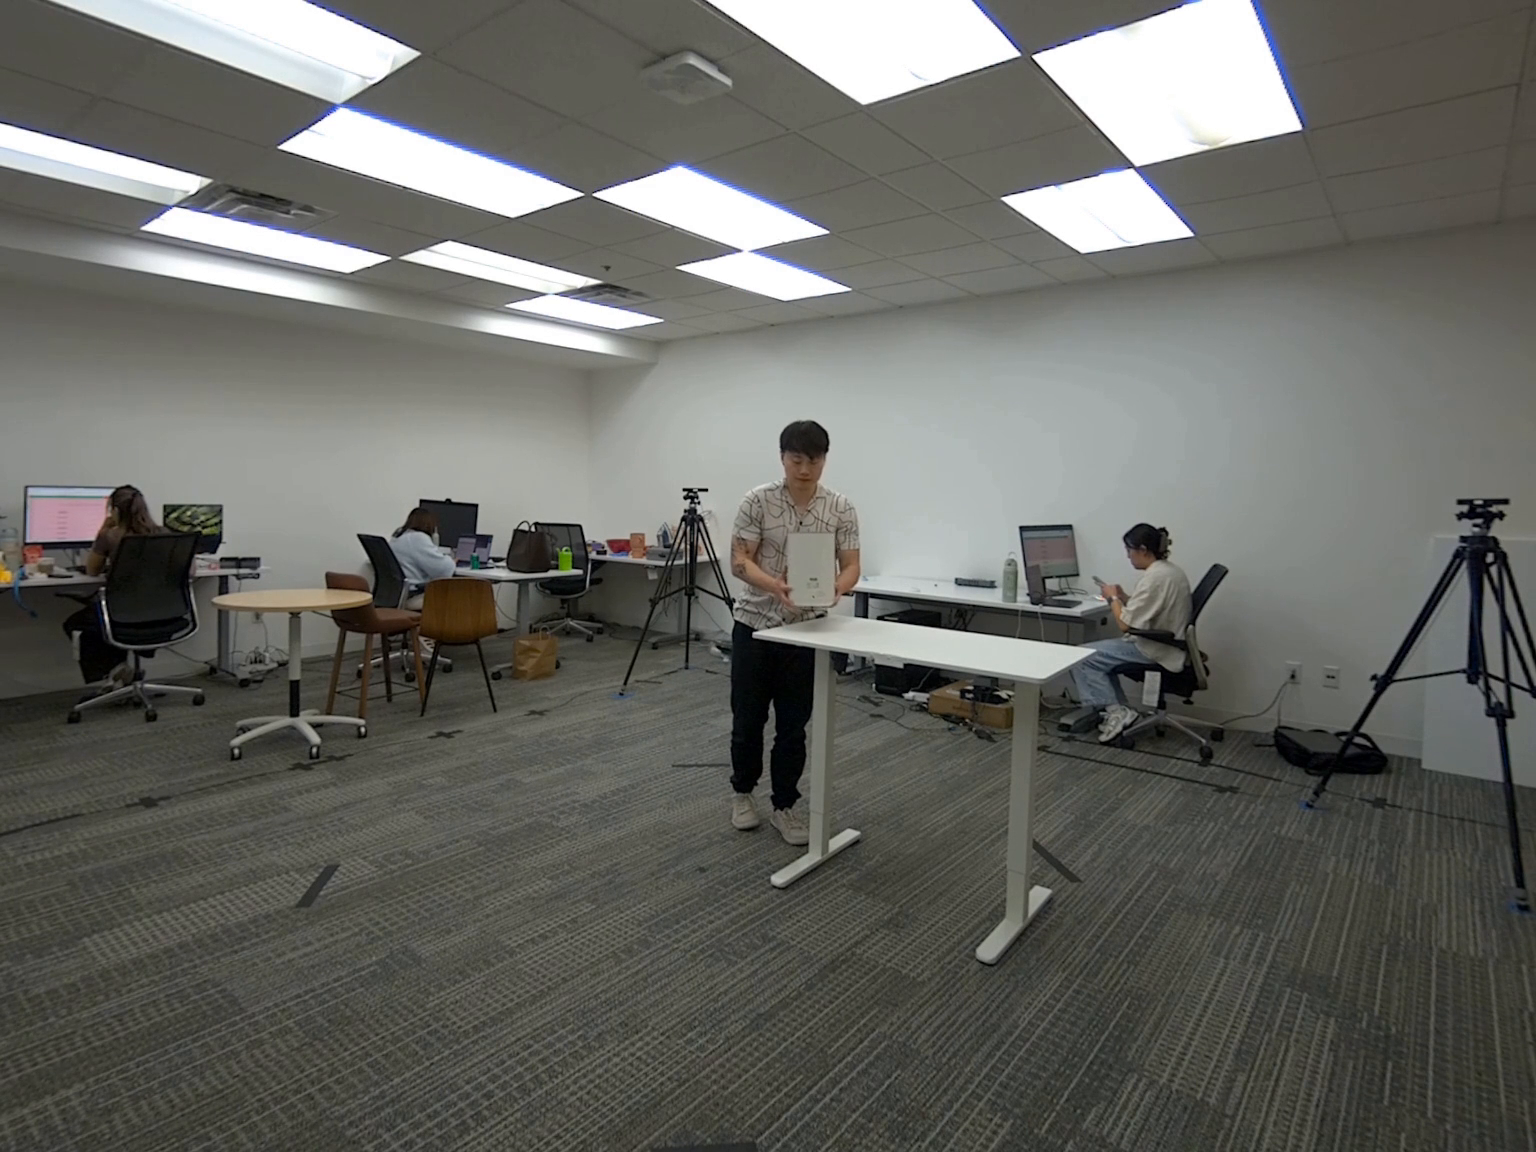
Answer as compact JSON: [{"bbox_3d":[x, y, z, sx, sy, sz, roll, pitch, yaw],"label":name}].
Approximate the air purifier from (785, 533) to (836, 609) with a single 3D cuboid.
[{"bbox_3d":[0.151,-0.025,3.110,0.171,0.267,0.171,0,-6,-2],"label":"air purifier"}]
